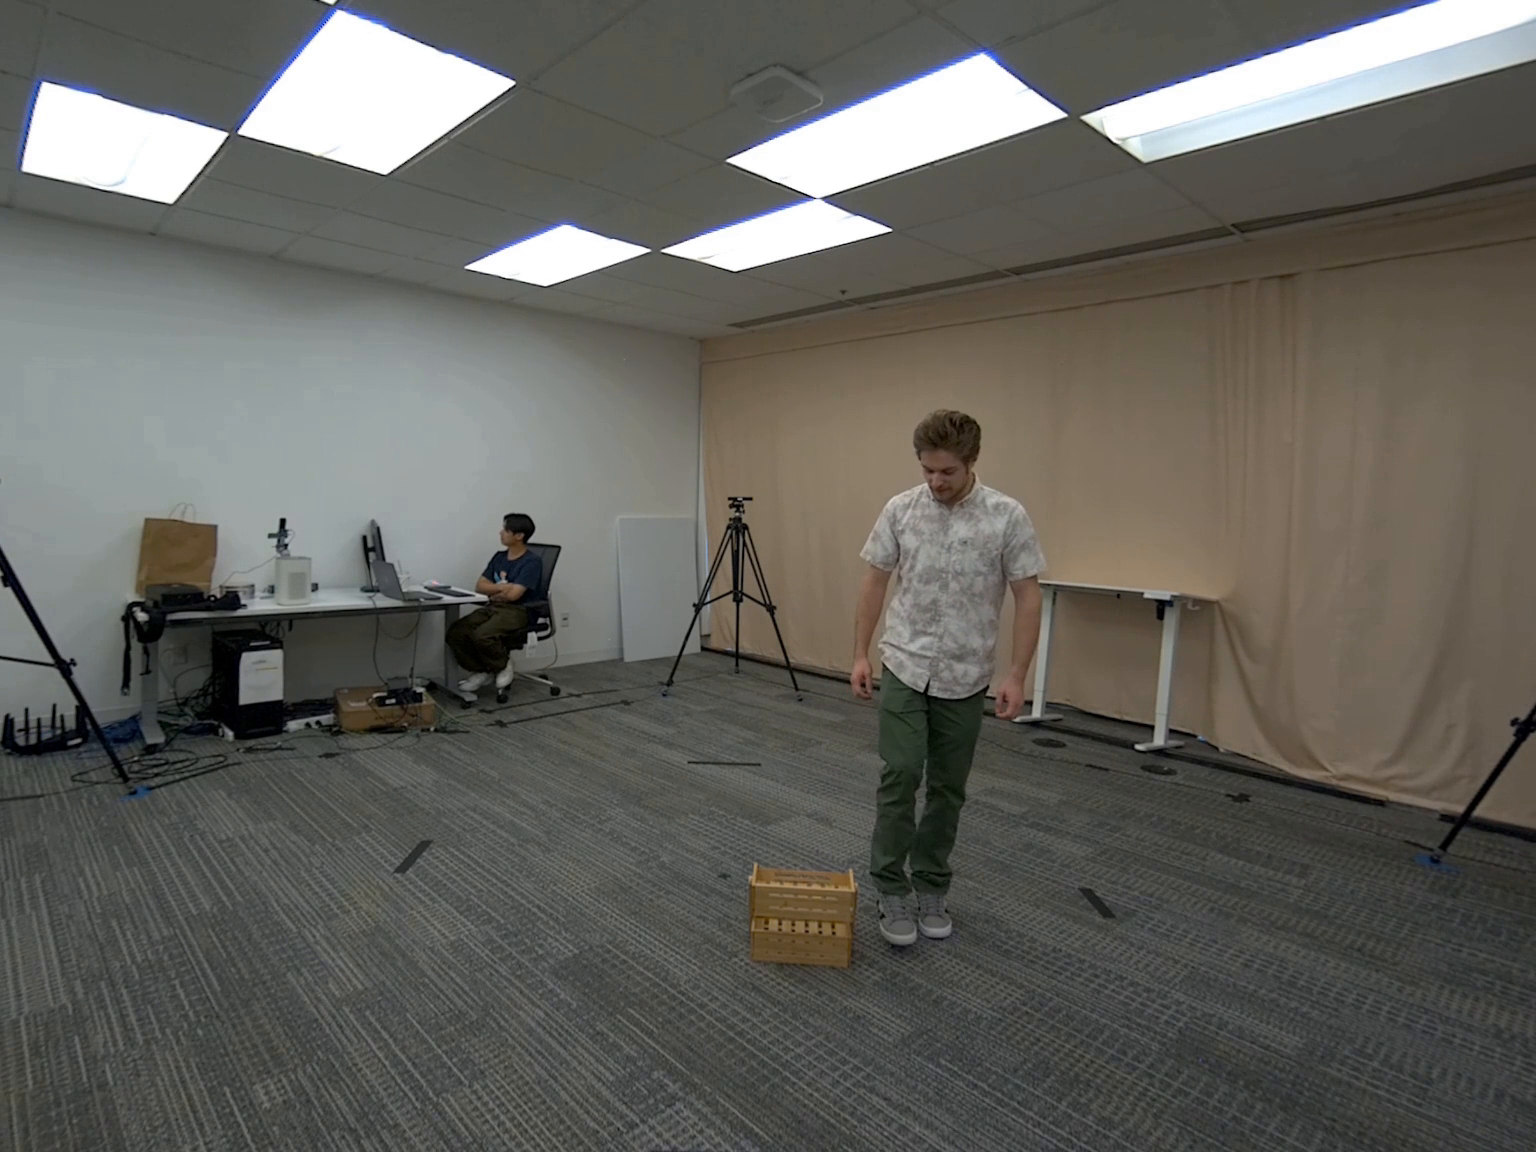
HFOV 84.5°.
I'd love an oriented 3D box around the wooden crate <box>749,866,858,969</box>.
[{"bbox_3d":[0.101,1.022,2.618,0.325,0.272,0.302,2,5,3],"label":"wooden crate"}]
